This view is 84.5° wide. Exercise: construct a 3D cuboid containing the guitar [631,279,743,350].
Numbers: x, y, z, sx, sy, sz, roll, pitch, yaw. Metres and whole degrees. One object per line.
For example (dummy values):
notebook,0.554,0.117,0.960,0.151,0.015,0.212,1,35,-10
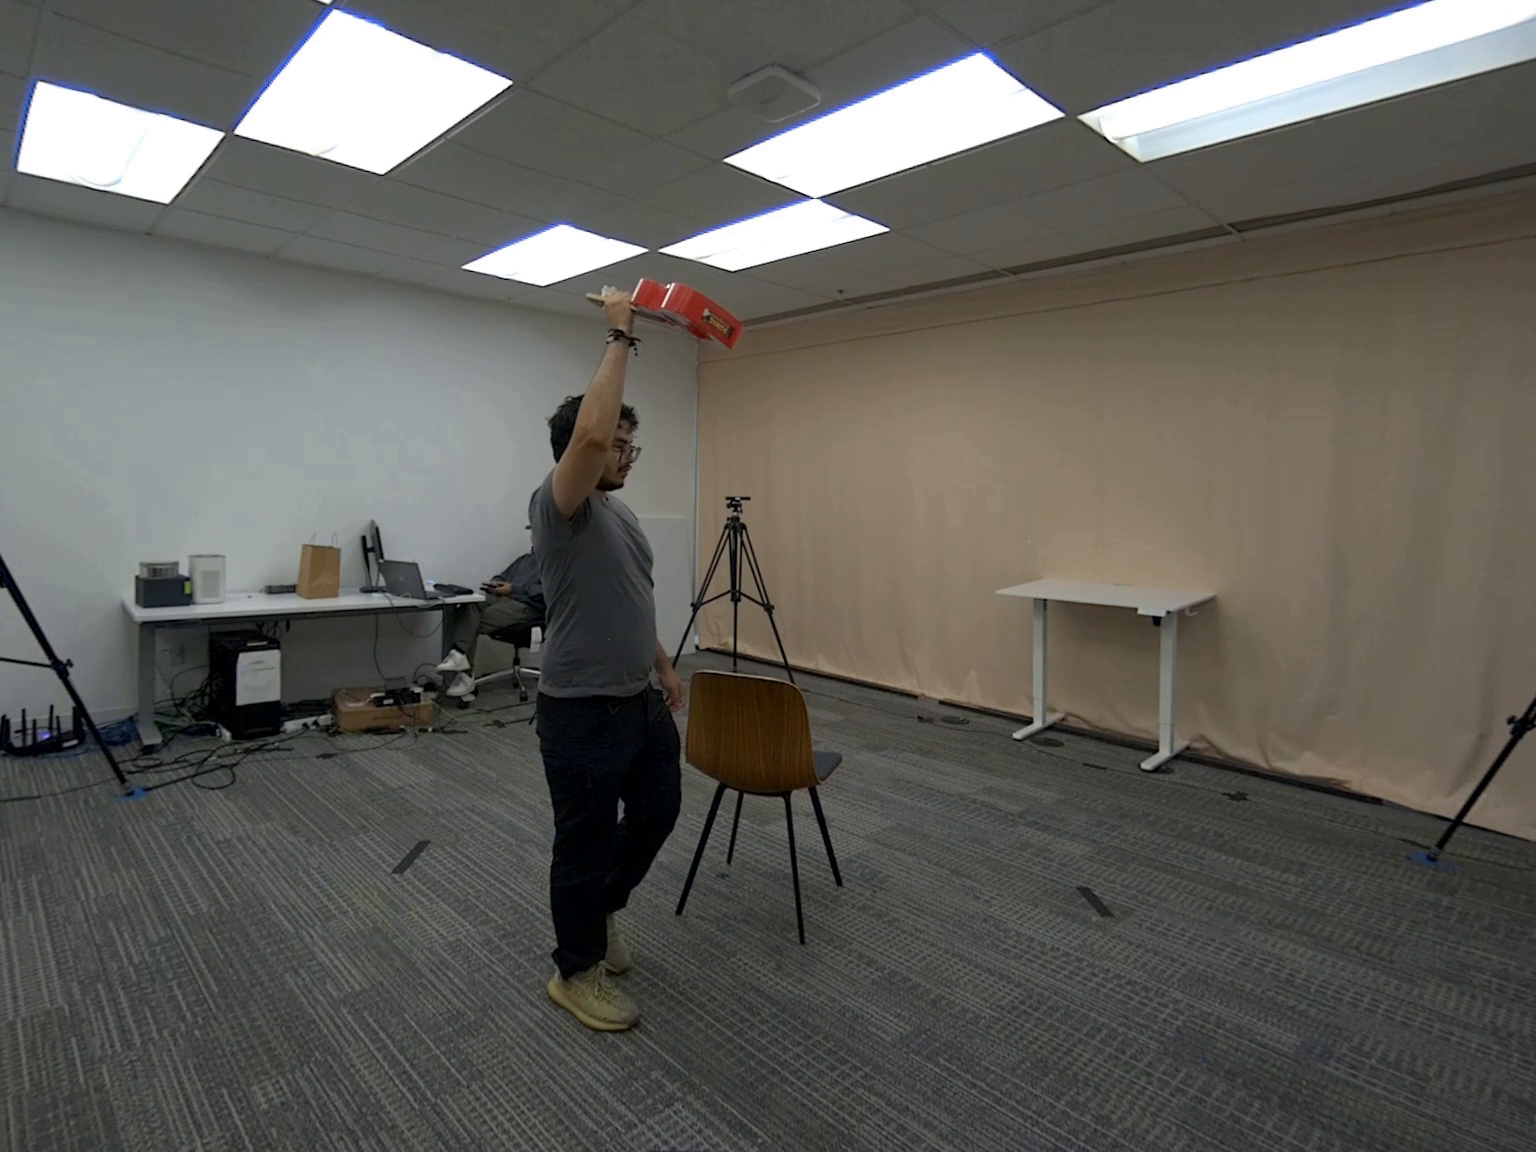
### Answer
guitar,-0.289,-0.629,1.915,0.513,0.070,0.187,29,5,34
